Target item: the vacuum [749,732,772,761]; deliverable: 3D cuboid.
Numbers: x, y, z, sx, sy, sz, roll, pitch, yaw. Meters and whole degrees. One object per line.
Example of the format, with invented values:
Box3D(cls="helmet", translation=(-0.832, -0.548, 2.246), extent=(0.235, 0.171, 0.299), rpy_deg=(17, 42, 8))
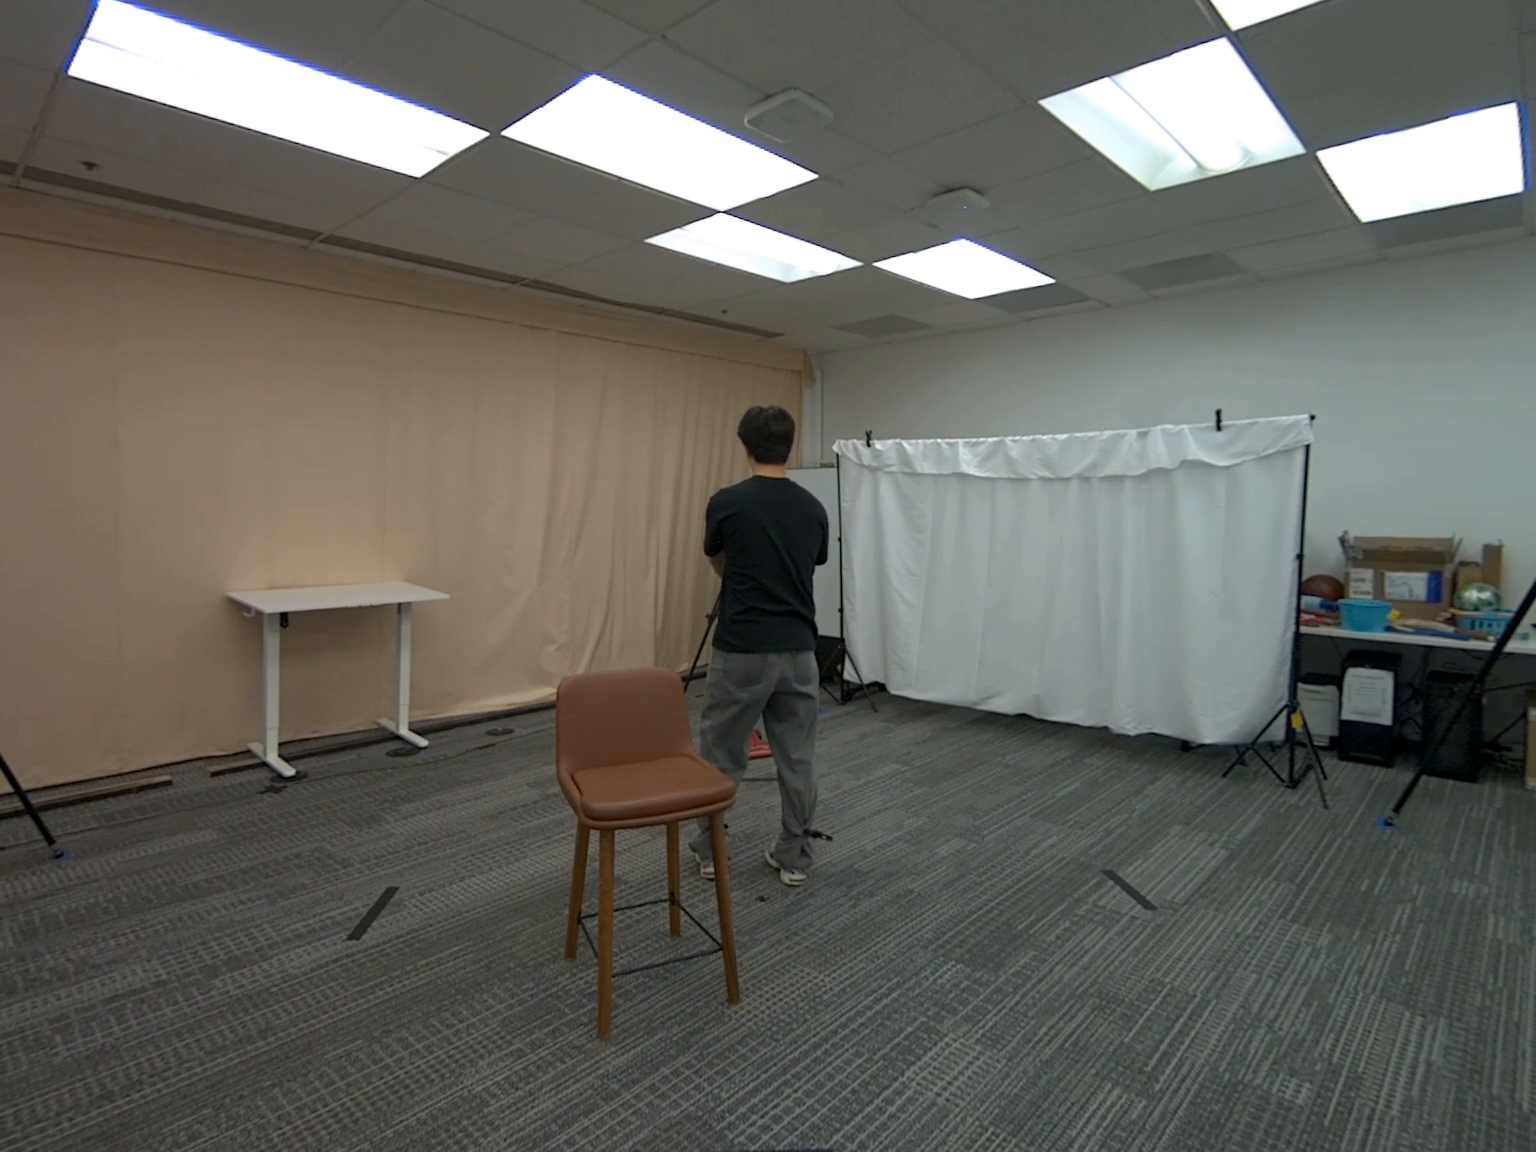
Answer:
Box3D(cls="vacuum", translation=(-0.120, 0.202, 3.595), extent=(0.246, 1.052, 0.147), rpy_deg=(-3, -4, -27))
